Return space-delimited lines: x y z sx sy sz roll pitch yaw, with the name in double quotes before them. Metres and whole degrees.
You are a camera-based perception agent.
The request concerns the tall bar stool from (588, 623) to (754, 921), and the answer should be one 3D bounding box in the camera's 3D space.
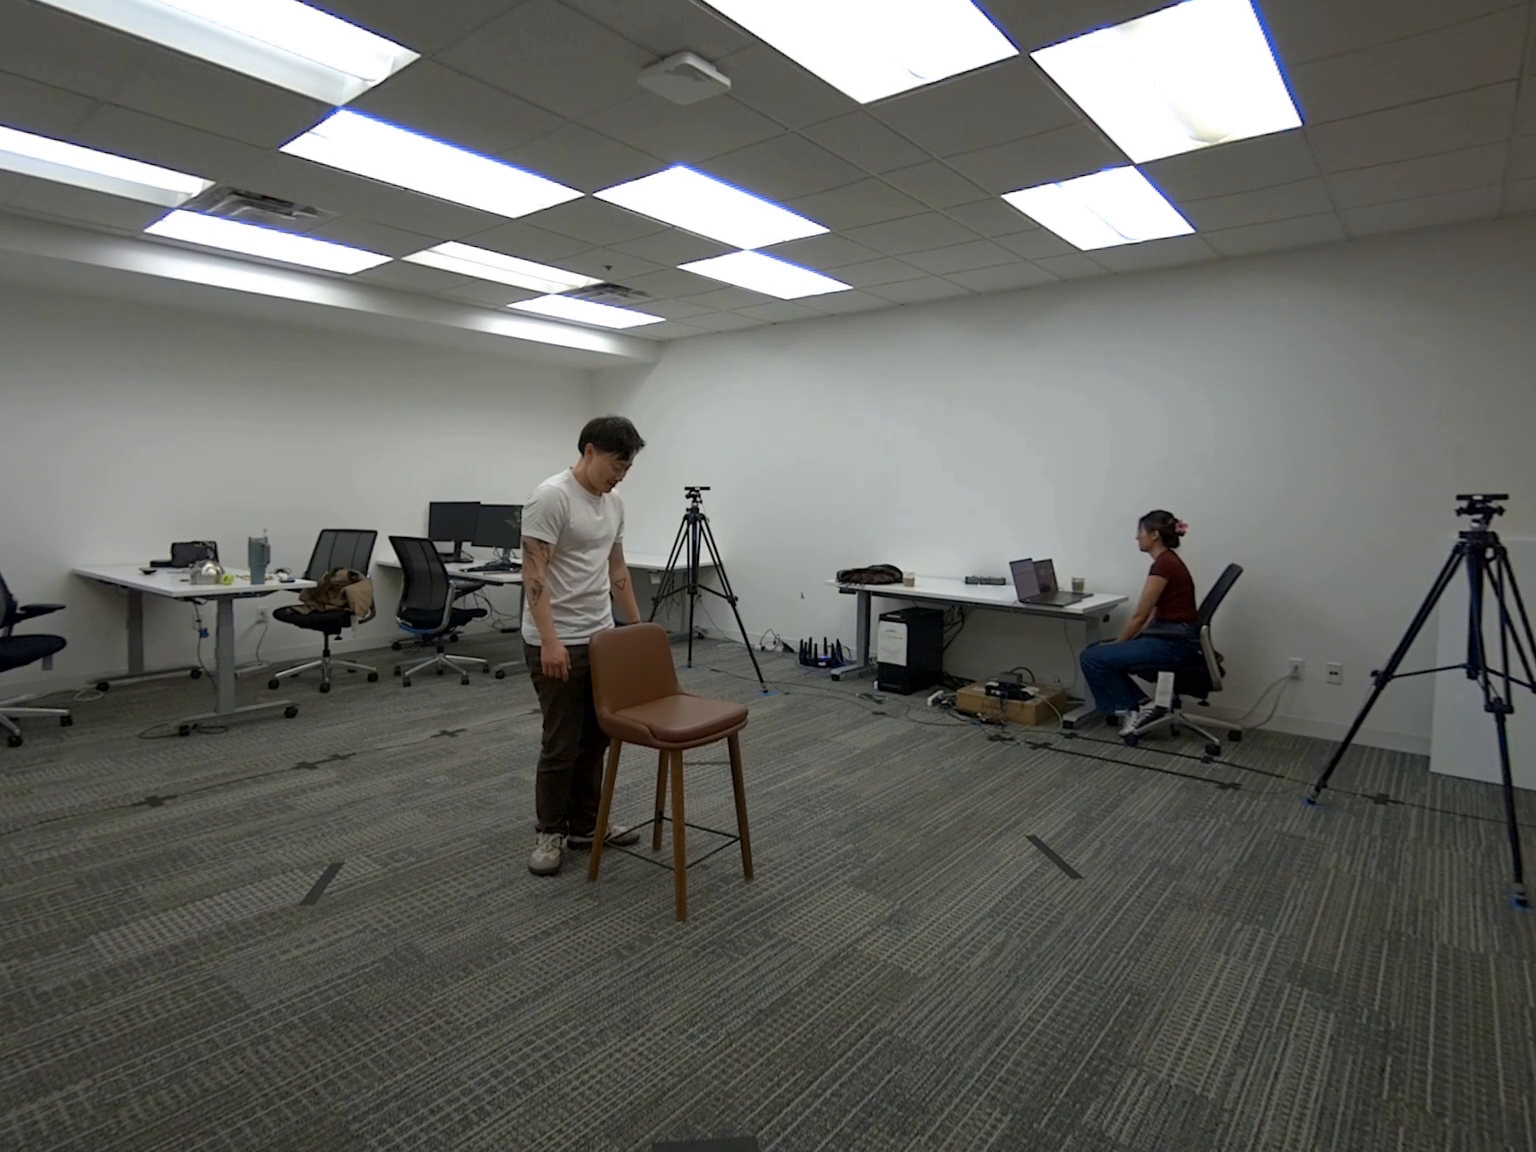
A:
"tall bar stool" -0.358 0.635 2.990 0.482 0.889 0.443 0 2 36
